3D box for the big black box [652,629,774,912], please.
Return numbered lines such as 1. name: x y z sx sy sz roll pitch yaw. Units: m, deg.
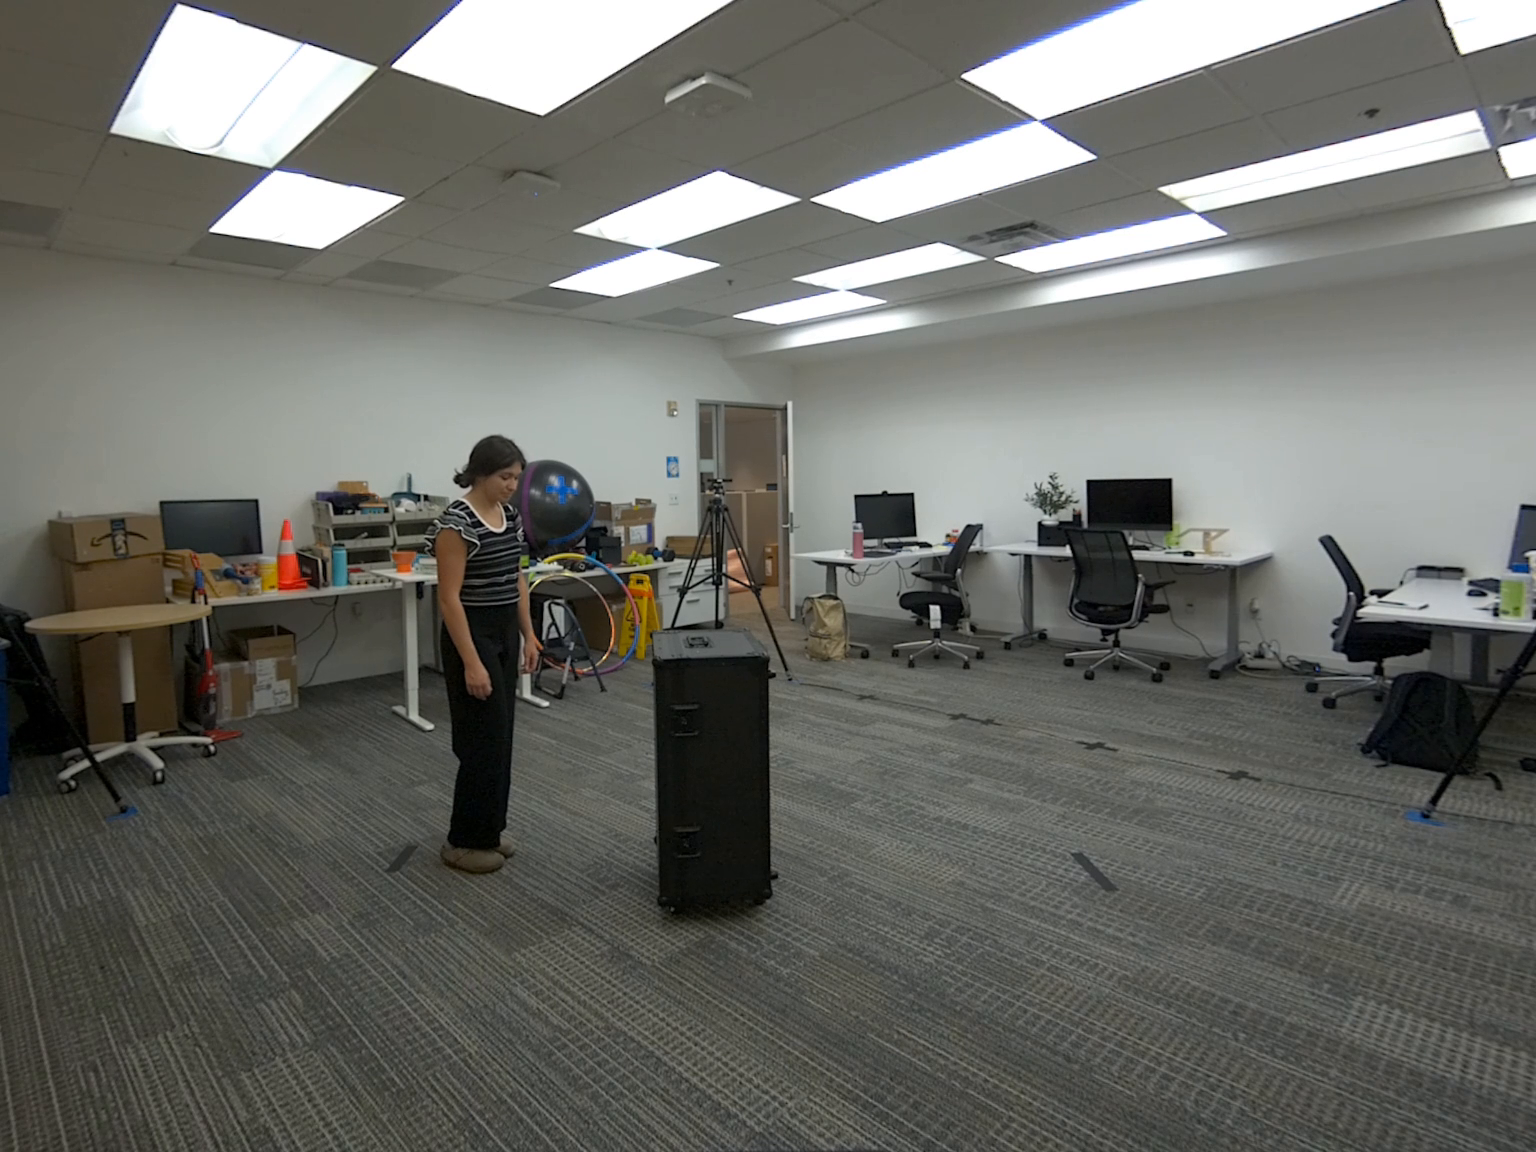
1. big black box: -0.190 0.644 2.893 0.394 0.859 0.526 -1 4 -6
